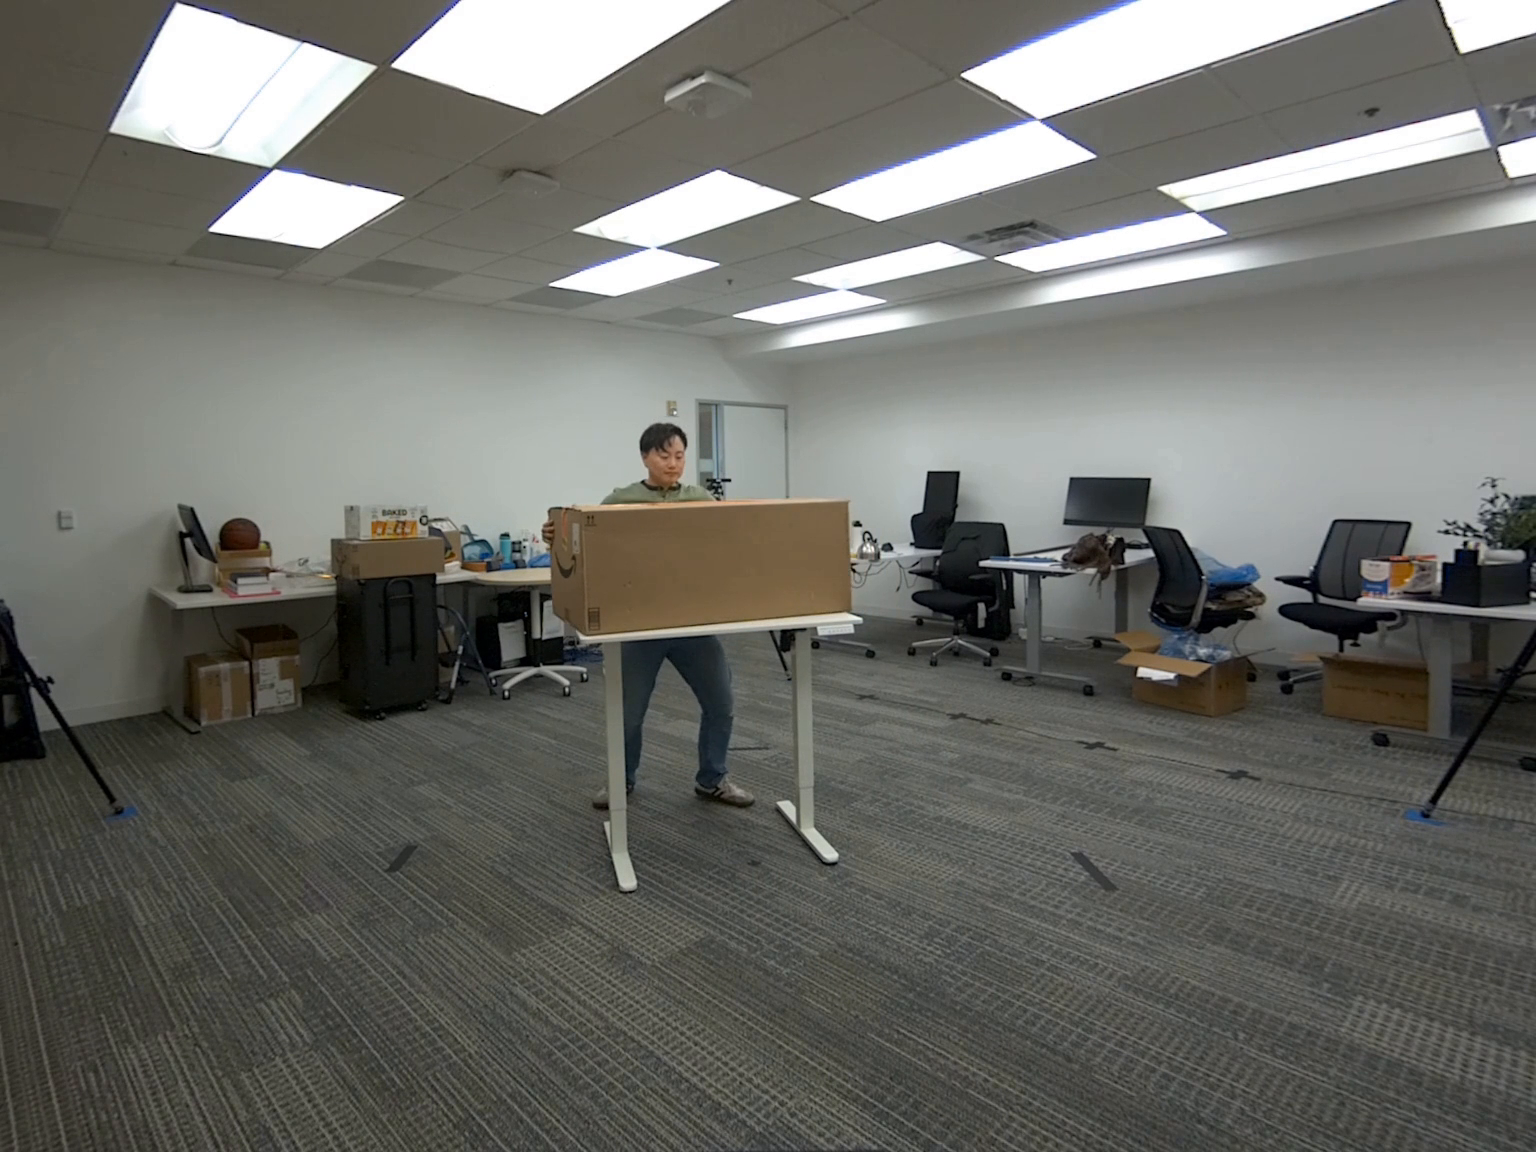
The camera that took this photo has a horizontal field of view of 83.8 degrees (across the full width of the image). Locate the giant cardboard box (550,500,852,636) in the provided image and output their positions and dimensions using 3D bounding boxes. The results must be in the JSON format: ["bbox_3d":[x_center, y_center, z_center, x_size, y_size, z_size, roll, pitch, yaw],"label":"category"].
[{"bbox_3d":[-0.267,-0.072,3.286,1.007,0.425,0.590,-4,5,-22],"label":"giant cardboard box"}]
